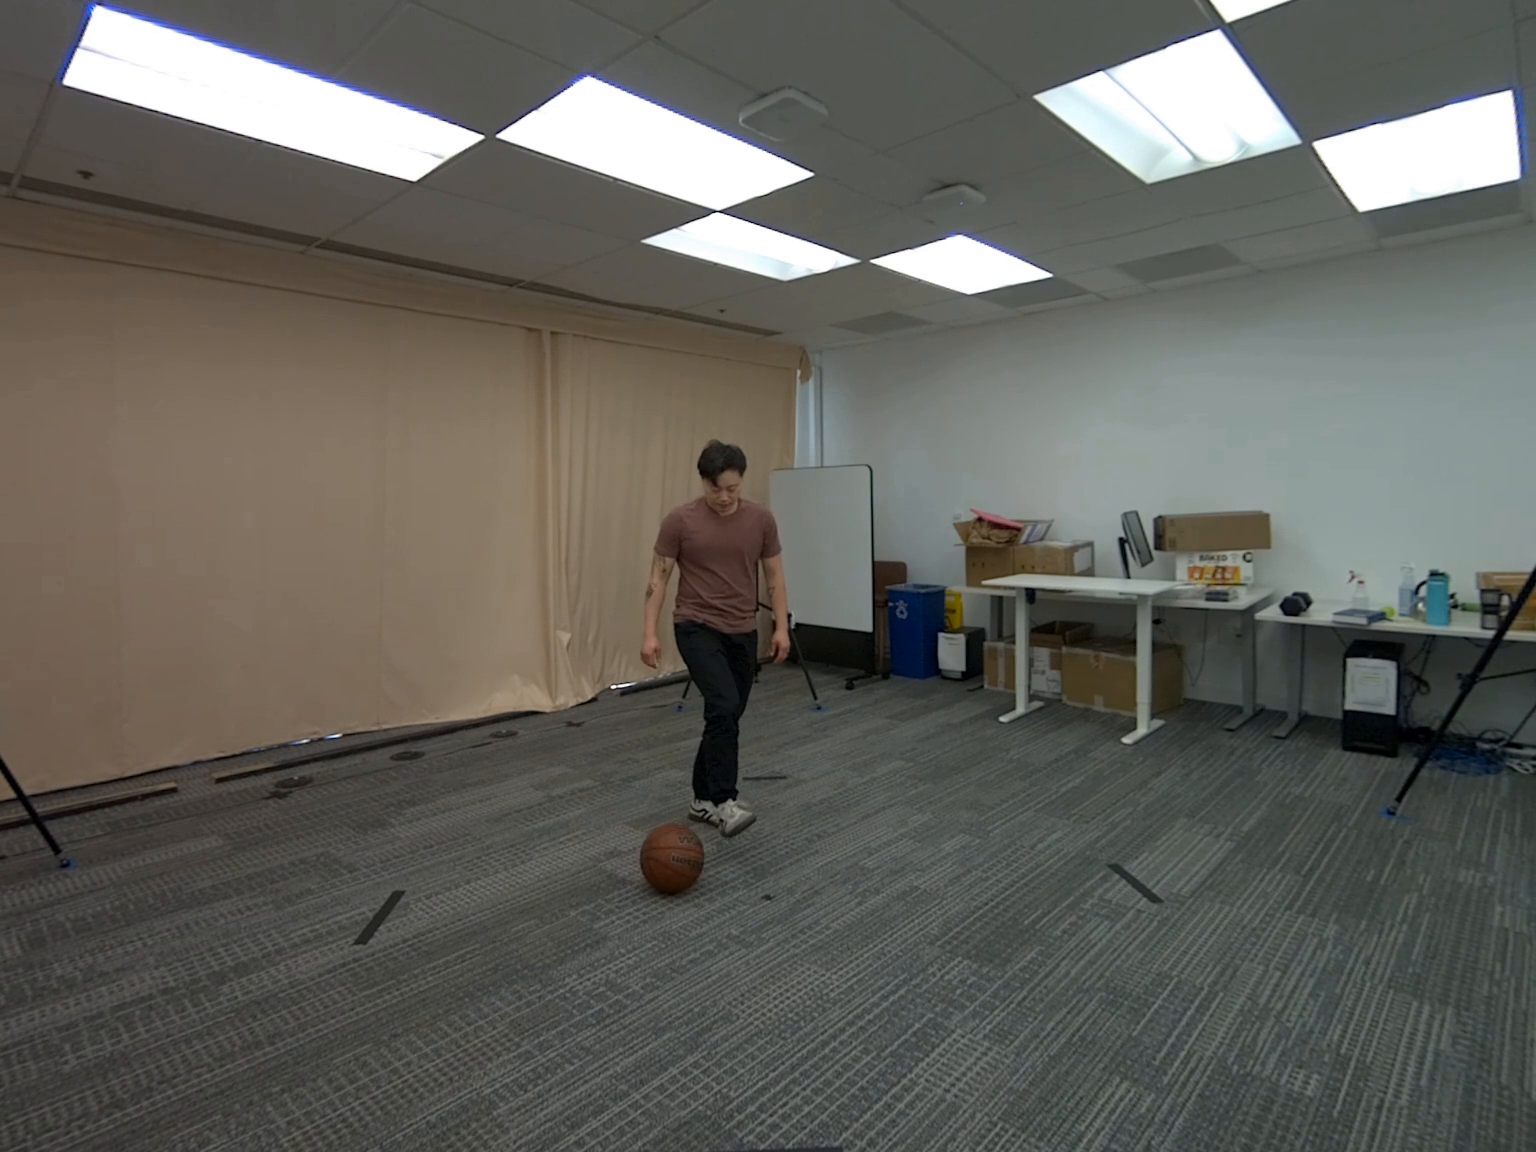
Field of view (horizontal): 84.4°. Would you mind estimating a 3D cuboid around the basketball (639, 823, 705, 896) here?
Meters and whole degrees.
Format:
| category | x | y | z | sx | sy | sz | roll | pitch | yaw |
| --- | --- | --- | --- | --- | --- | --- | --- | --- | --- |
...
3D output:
| category | x | y | z | sx | sy | sz | roll | pitch | yaw |
| --- | --- | --- | --- | --- | --- | --- | --- | --- | --- |
| basketball | -0.347 | 1.019 | 3.051 | 0.236 | 0.235 | 0.237 | -1 | 4 | -2 |
